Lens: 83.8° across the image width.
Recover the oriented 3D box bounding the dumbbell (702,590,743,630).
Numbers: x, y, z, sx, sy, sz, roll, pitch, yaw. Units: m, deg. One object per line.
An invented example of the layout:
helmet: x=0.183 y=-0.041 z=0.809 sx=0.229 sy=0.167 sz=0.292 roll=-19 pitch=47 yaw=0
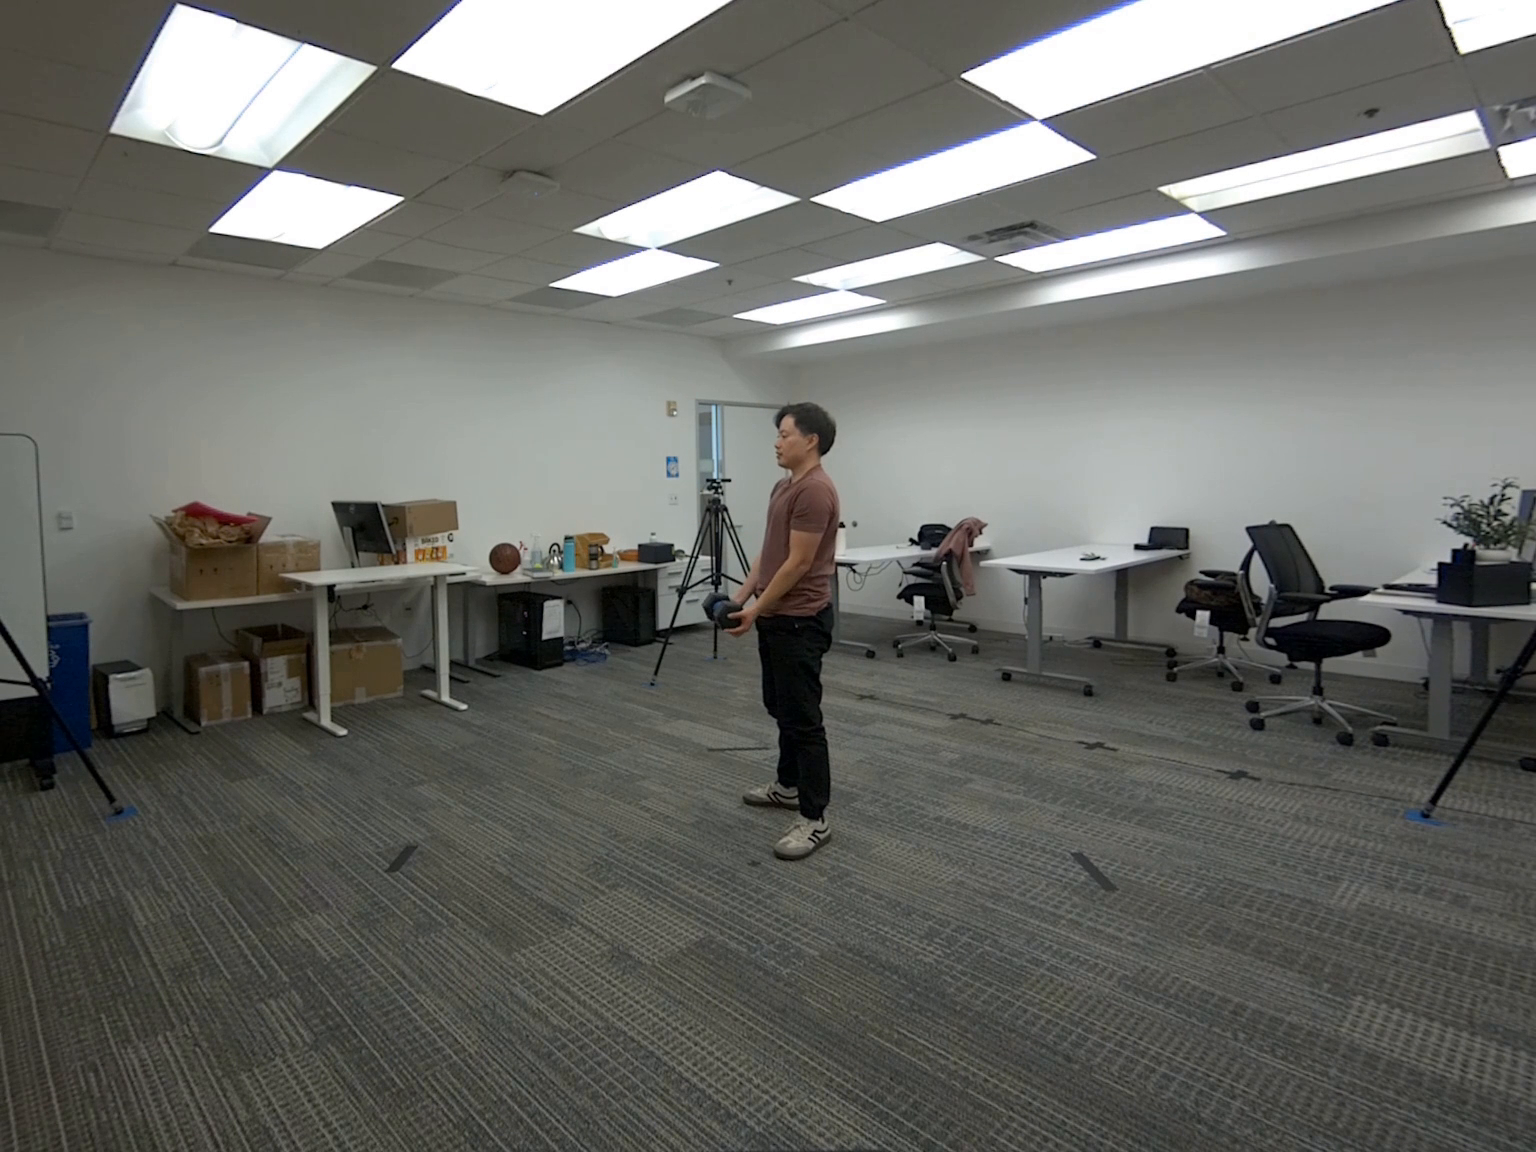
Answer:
dumbbell: x=-0.171 y=0.135 z=3.360 sx=0.106 sy=0.123 sz=0.299 roll=35 pitch=-3 yaw=-17
